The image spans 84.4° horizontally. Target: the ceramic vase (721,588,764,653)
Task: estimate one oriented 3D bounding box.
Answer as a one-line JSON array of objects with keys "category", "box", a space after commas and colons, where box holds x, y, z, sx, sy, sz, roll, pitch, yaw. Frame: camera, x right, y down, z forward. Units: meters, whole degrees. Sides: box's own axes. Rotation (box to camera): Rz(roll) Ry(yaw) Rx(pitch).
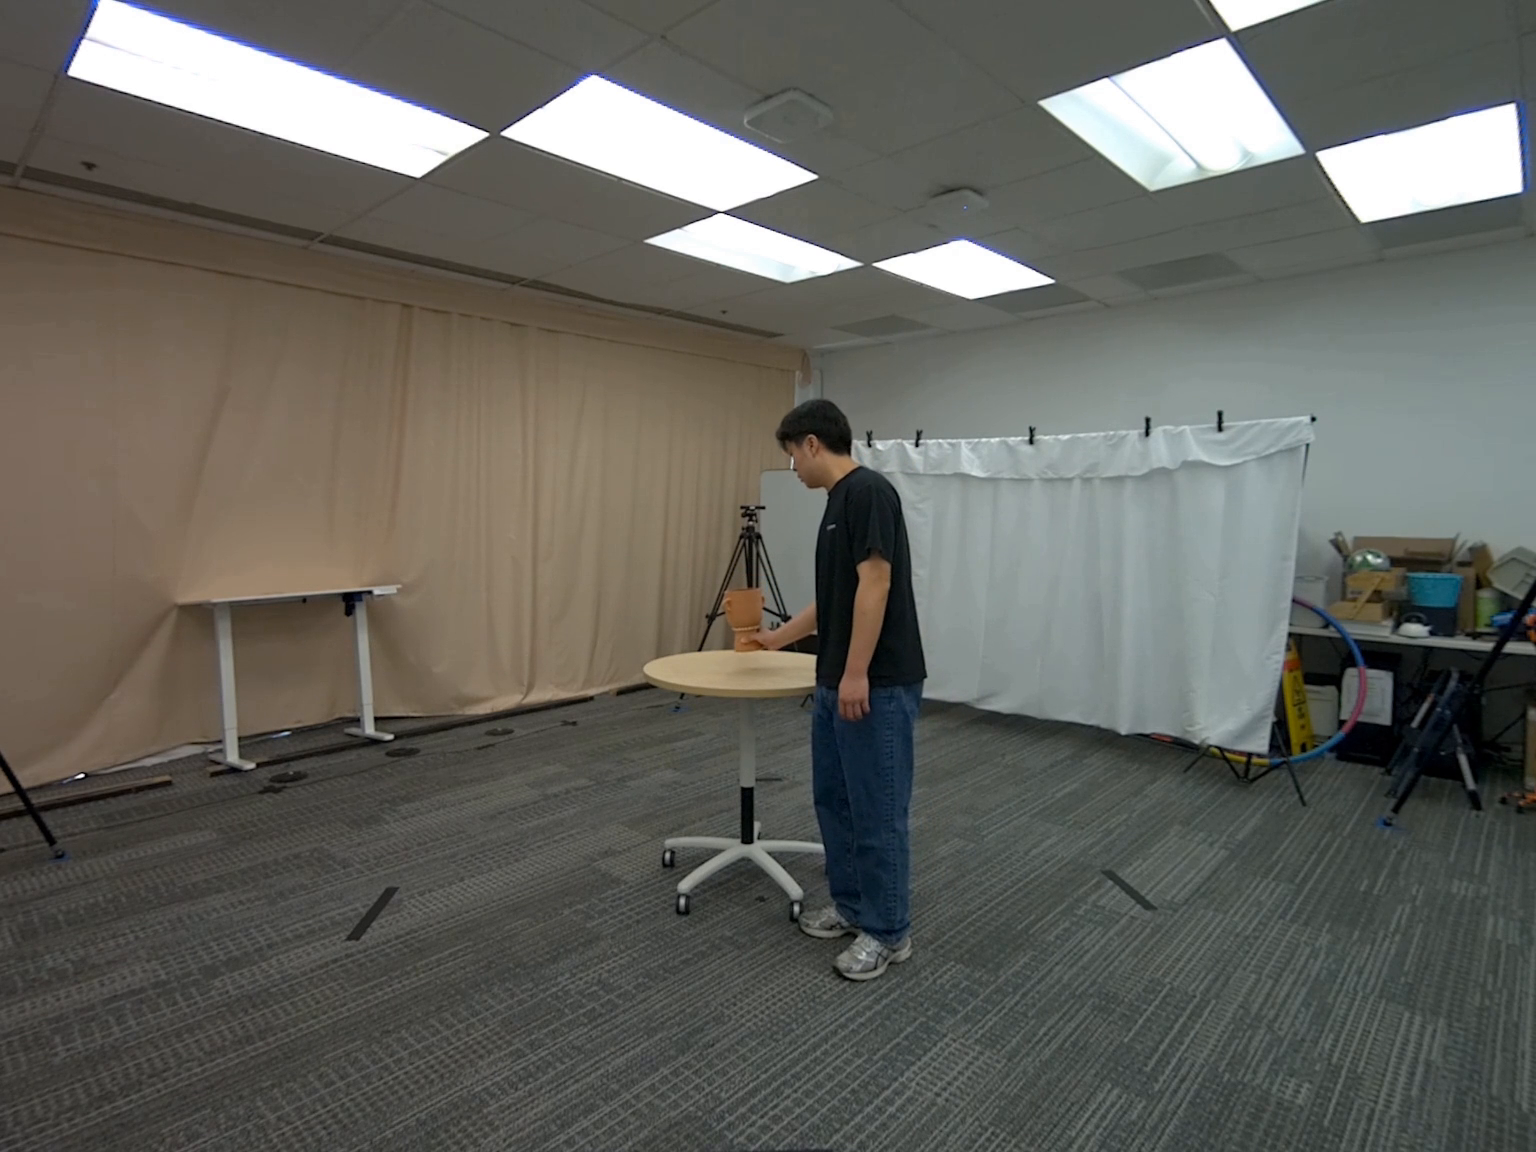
[{"category": "ceramic vase", "box": [-0.079, 0.162, 3.044, 0.159, 0.219, 0.134, -5, 2, 1]}]
